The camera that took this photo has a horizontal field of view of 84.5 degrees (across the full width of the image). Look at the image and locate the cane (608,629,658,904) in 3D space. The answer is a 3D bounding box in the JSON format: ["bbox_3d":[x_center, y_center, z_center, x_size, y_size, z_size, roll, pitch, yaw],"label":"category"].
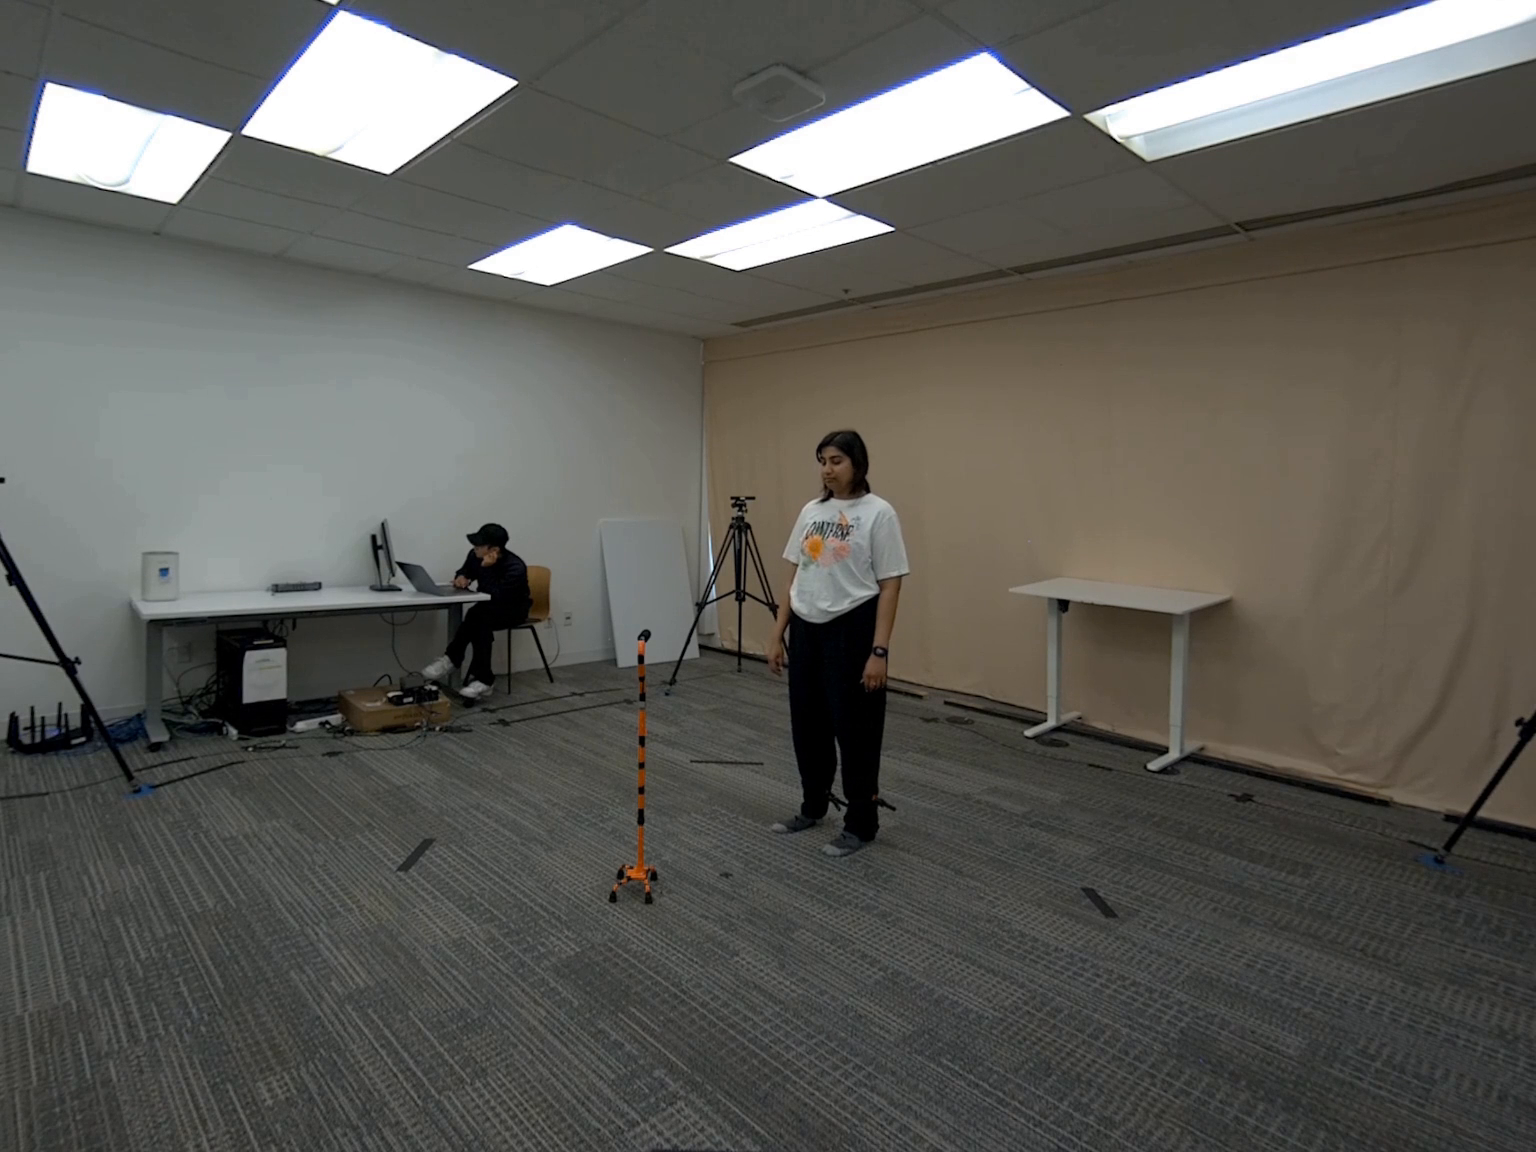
[{"bbox_3d":[-0.462,0.660,2.948,0.151,0.906,0.207,2,3,-1],"label":"cane"}]
